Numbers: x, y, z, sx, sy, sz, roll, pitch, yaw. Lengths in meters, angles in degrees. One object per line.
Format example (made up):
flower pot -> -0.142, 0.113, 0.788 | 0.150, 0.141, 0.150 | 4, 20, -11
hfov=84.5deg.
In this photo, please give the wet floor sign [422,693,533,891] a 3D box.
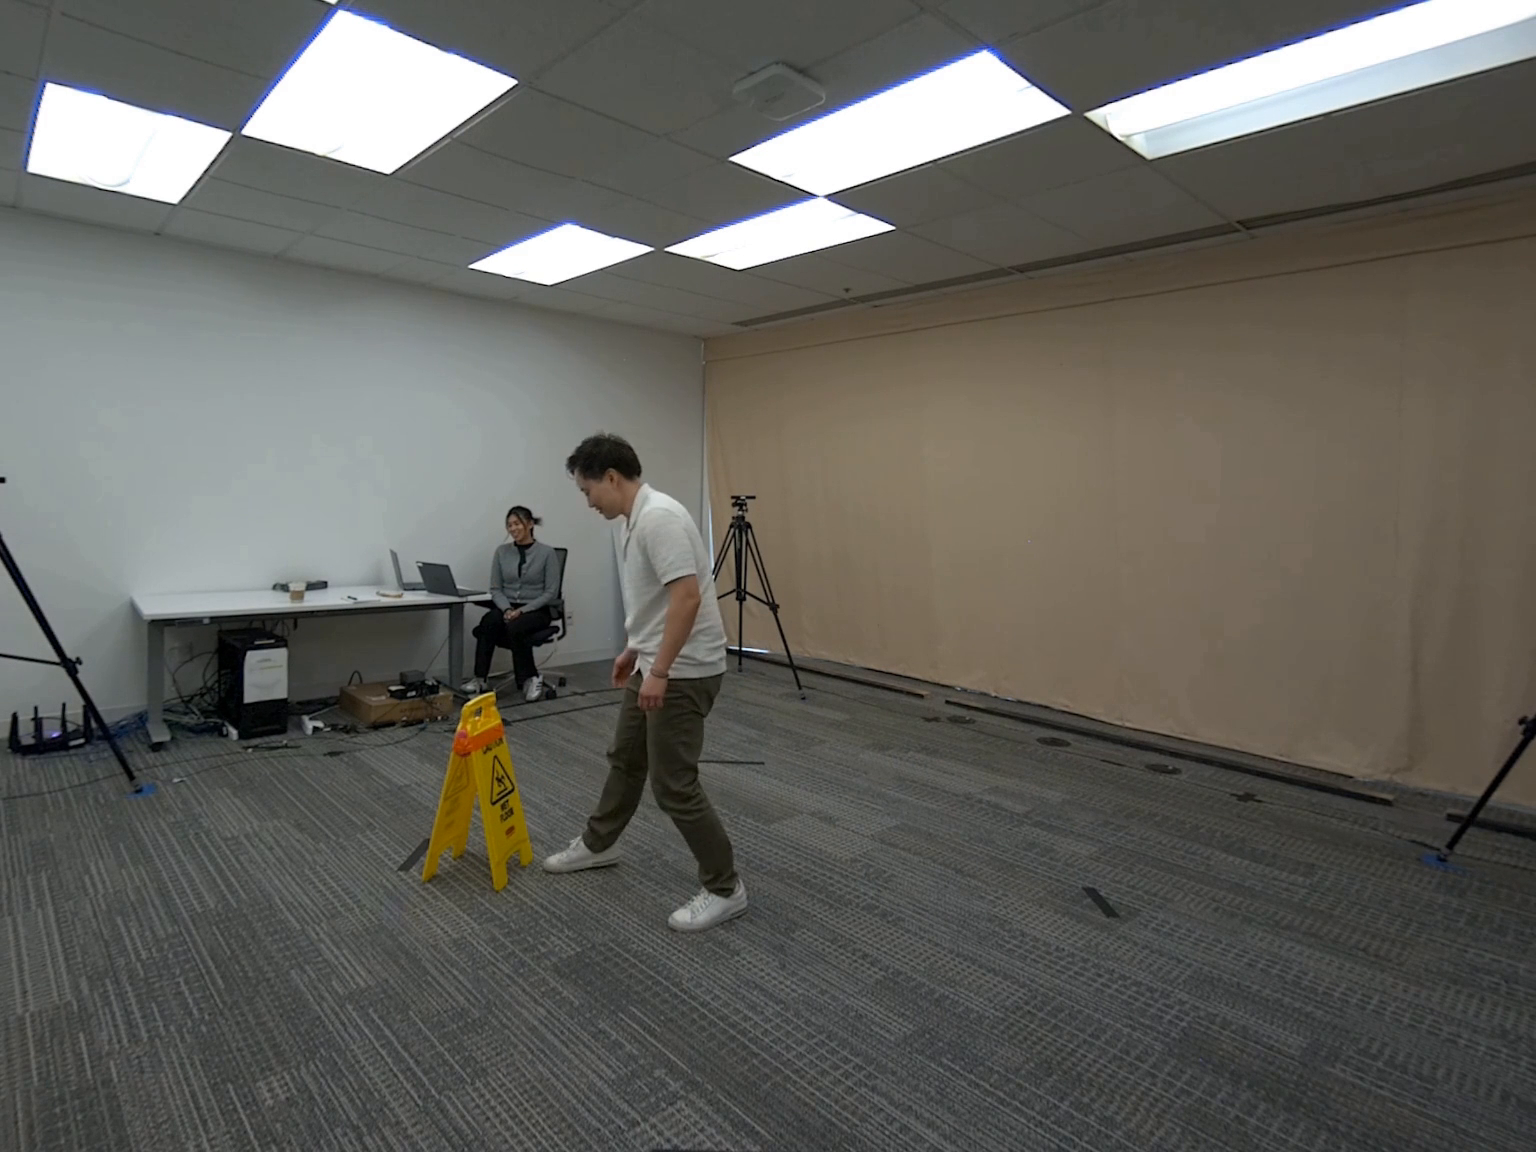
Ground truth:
wet floor sign -> -1.055, 0.761, 3.073 | 0.292, 0.644, 0.280 | 2, 4, 11
